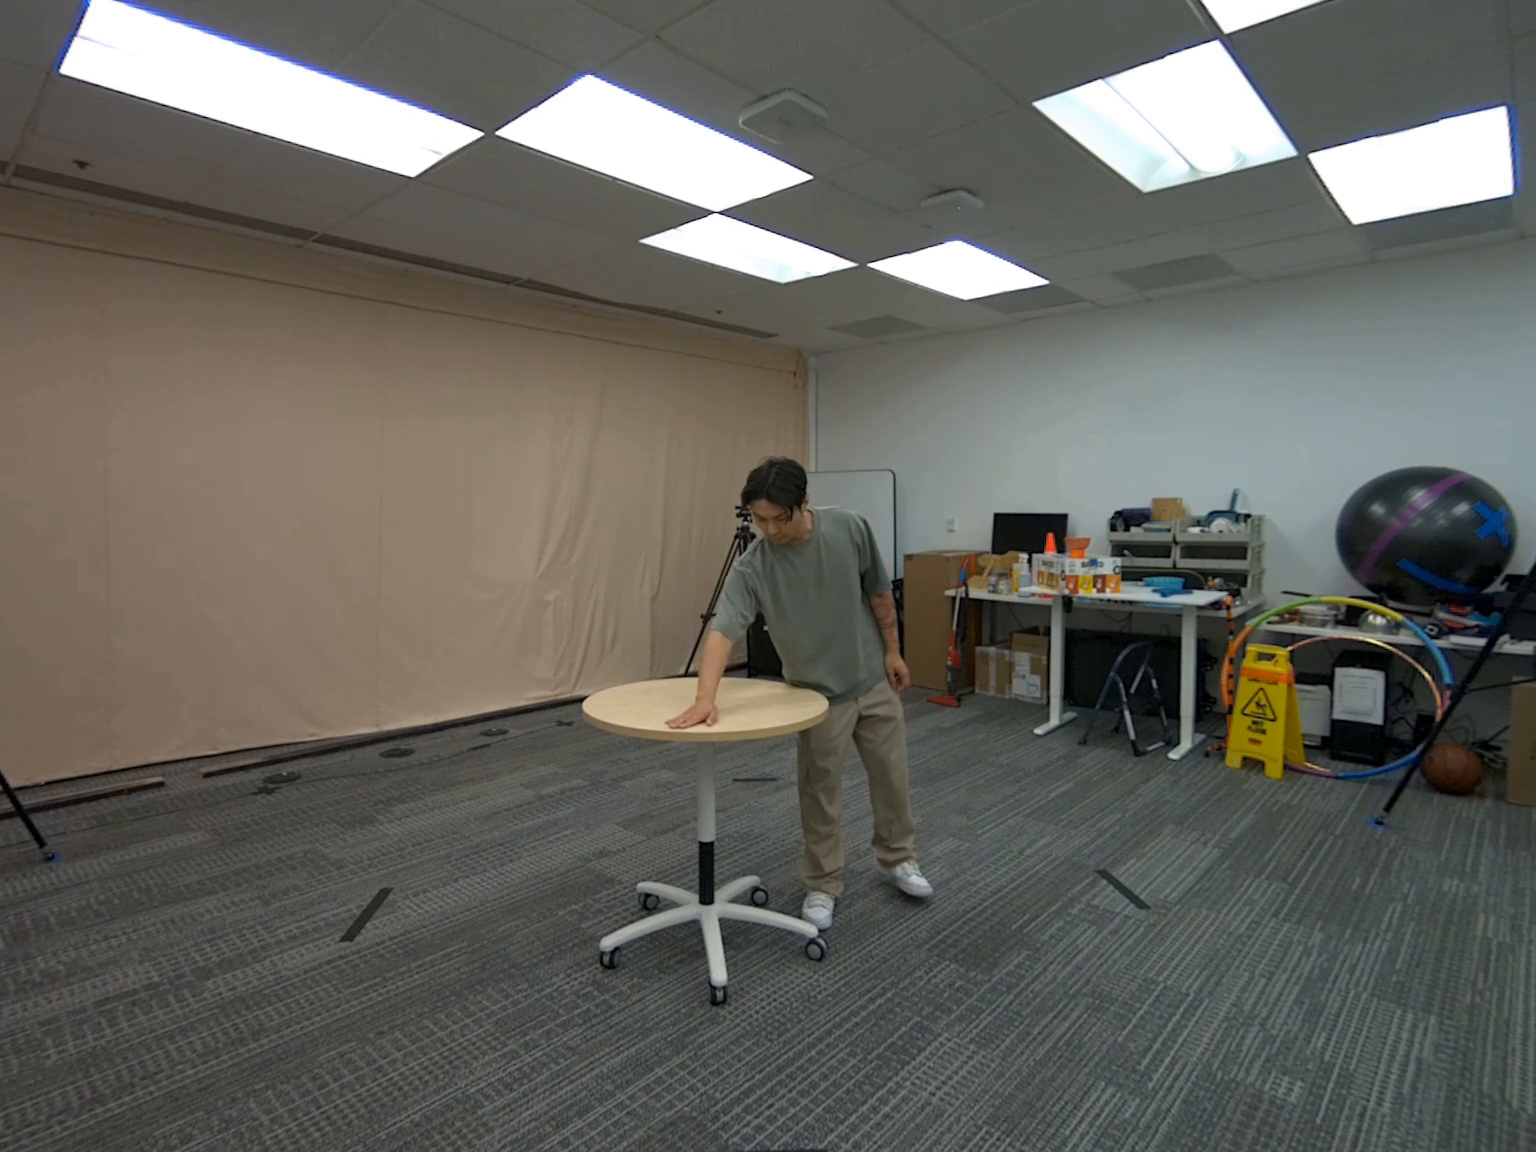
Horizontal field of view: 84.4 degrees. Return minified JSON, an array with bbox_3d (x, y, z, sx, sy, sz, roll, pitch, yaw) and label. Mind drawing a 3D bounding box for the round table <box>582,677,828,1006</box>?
[{"bbox_3d":[-0.193,0.786,2.646,0.763,0.792,0.766,0,4,-2],"label":"round table"}]
